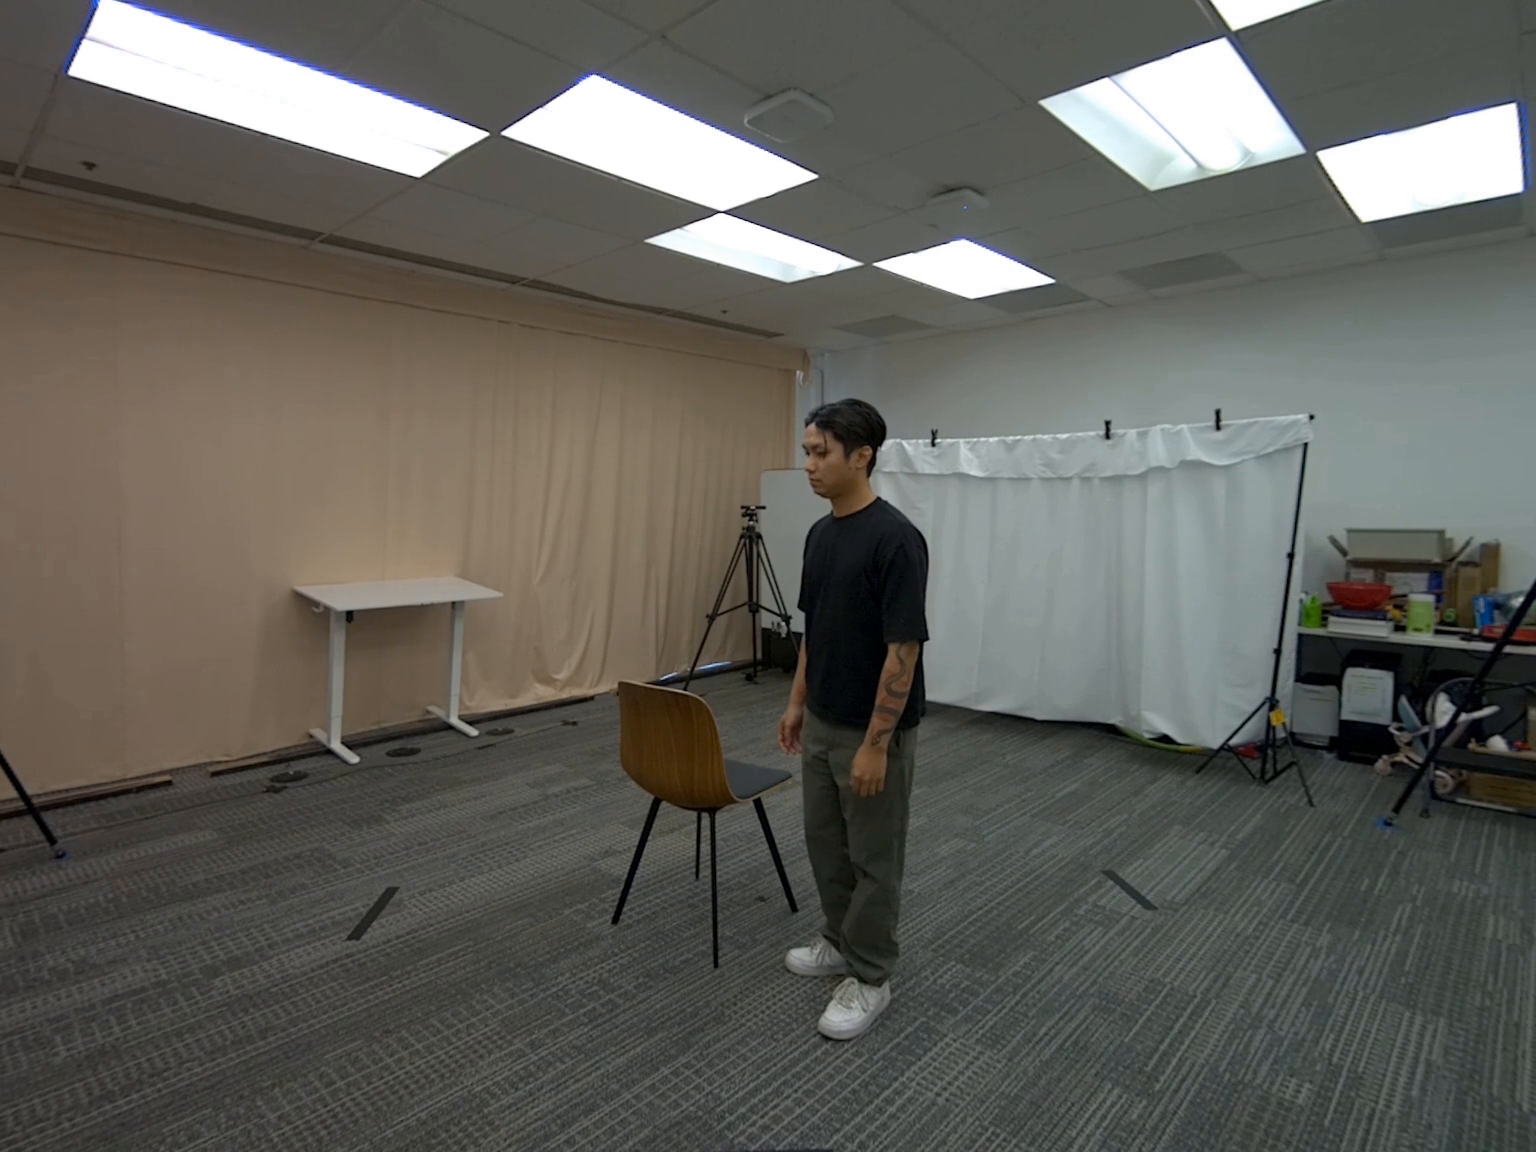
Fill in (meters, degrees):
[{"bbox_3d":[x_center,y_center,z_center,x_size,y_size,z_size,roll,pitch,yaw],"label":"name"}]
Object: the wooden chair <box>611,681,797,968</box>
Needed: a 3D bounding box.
[{"bbox_3d":[-0.206,0.729,2.826,0.493,0.873,0.509,2,8,37],"label":"wooden chair"}]
